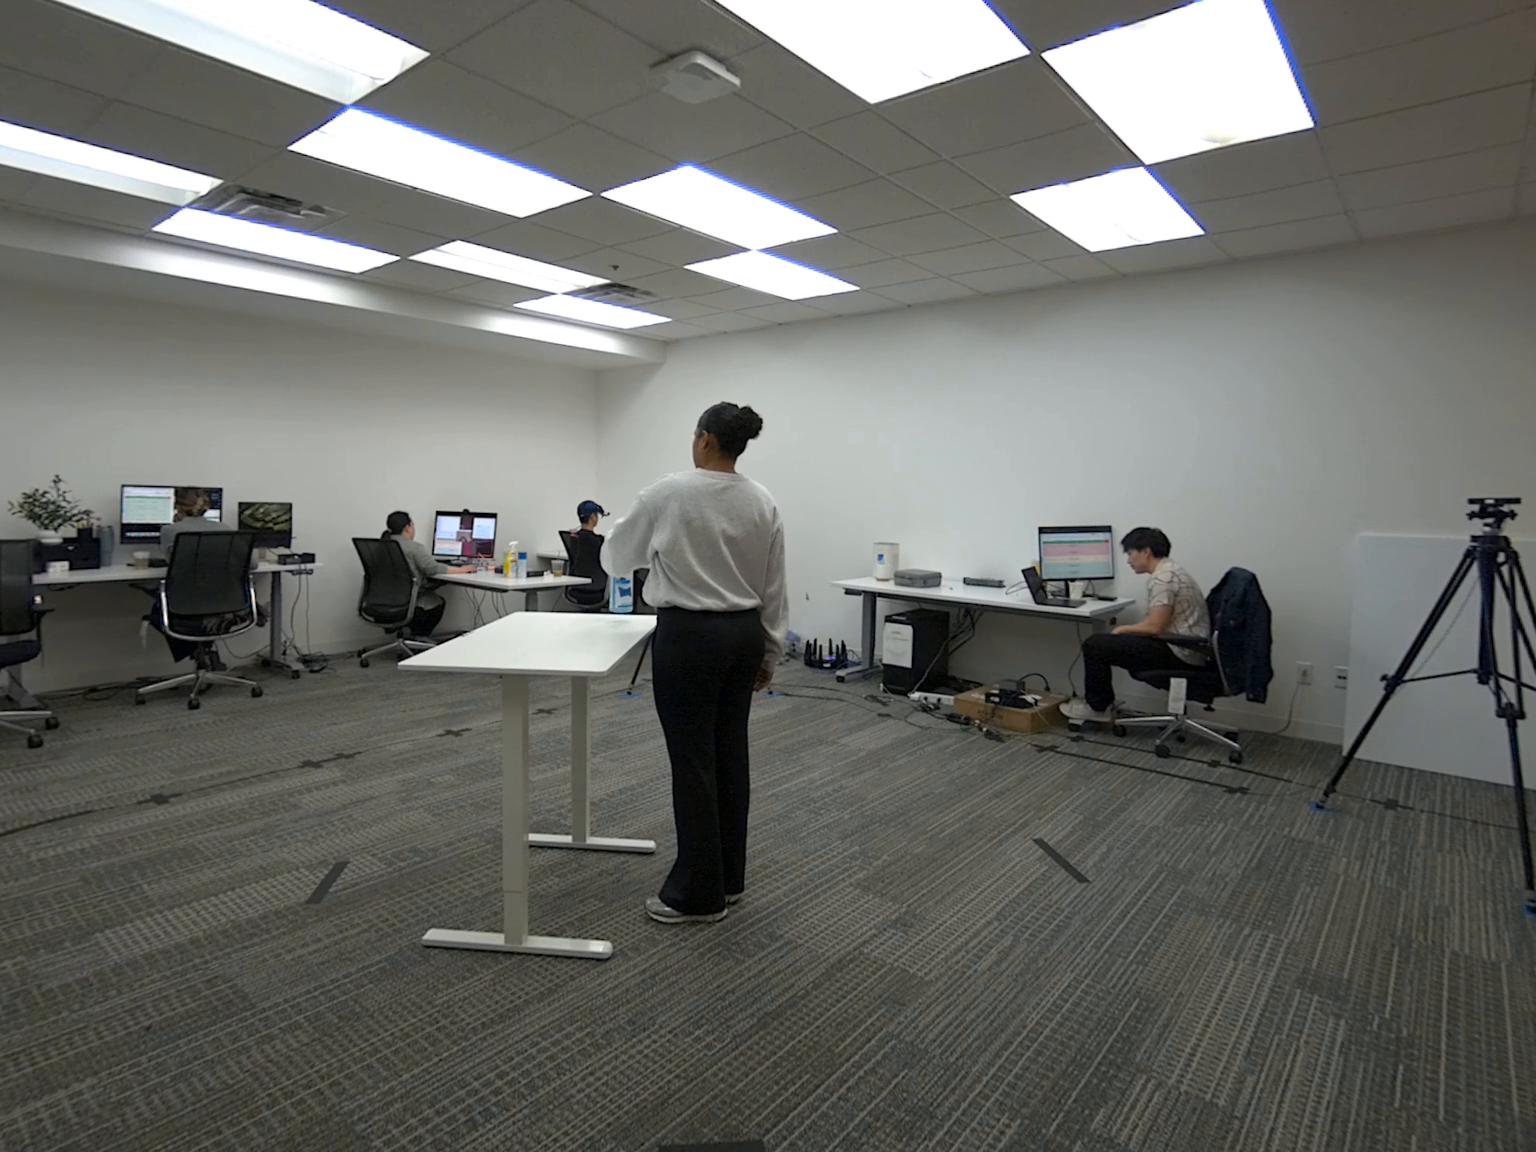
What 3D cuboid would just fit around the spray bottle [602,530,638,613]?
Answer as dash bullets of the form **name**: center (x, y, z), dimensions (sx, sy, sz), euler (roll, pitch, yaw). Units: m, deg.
- **spray bottle**: center (-0.555, -0.023, 3.163), dimensions (0.090, 0.296, 0.087), euler (6, 5, 31)
